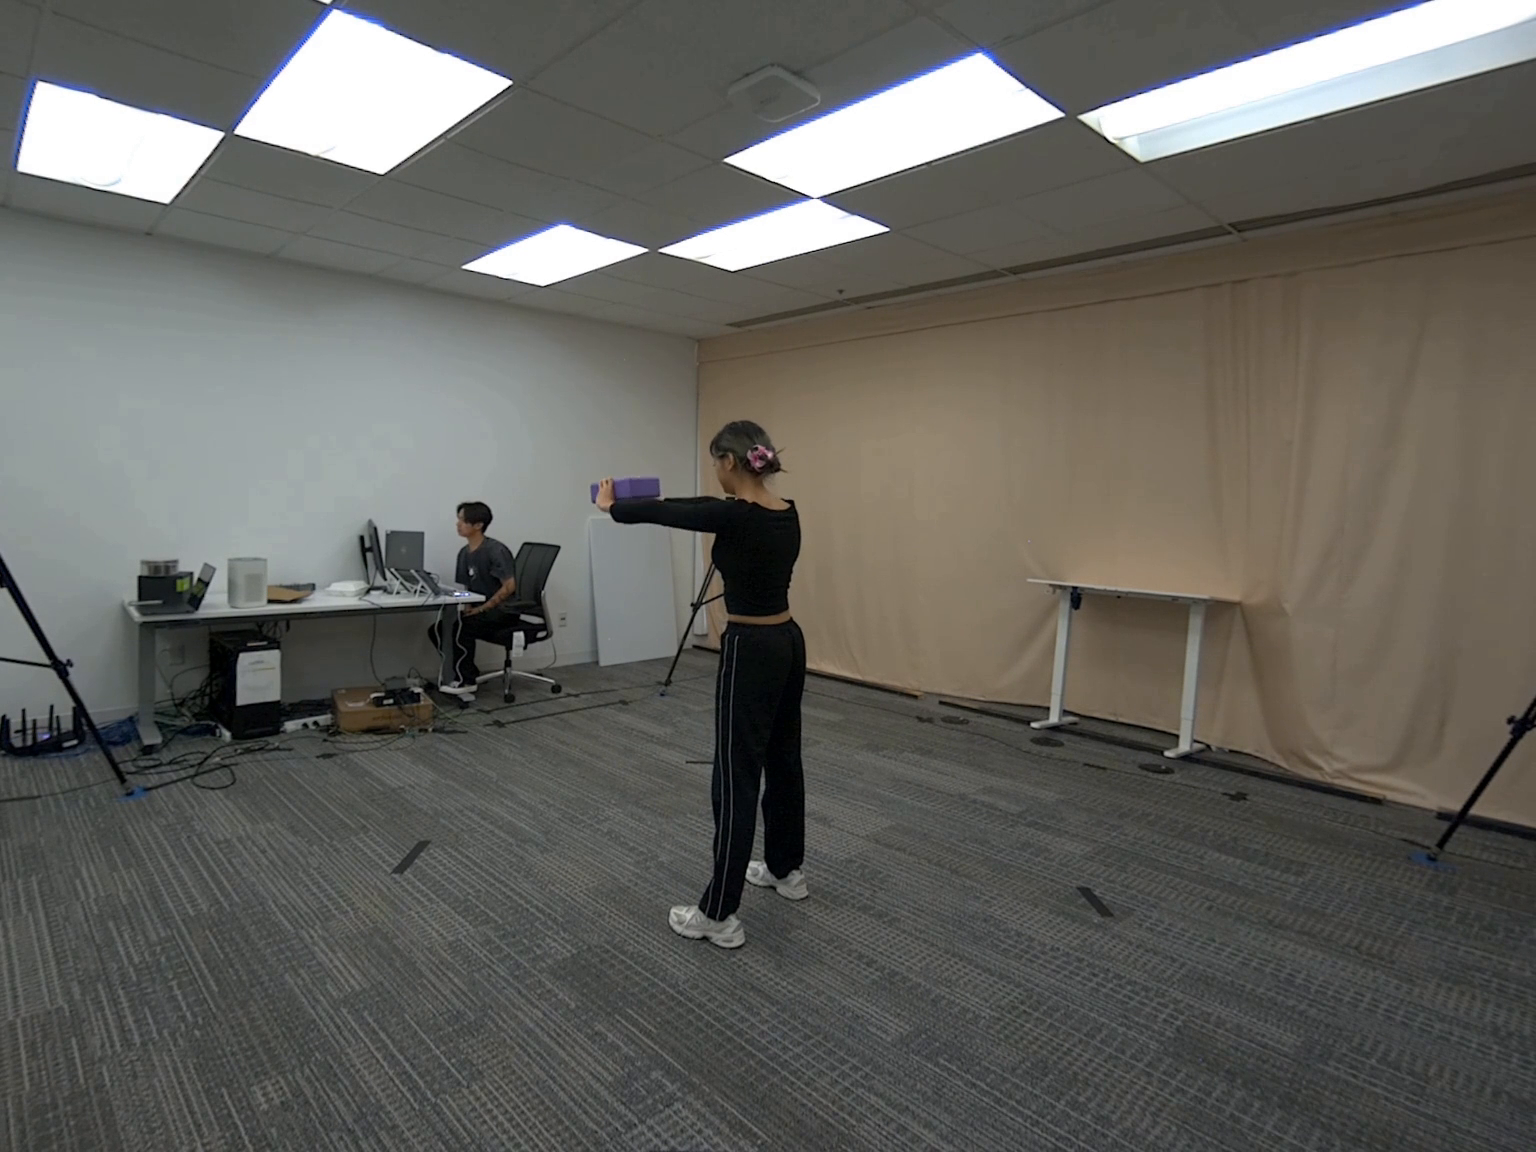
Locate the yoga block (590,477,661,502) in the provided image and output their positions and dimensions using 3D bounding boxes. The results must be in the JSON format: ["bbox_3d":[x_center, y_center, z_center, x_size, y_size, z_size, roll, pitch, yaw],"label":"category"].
[{"bbox_3d":[-0.529,-0.322,3.069,0.234,0.076,0.146,1,6,35],"label":"yoga block"}]
